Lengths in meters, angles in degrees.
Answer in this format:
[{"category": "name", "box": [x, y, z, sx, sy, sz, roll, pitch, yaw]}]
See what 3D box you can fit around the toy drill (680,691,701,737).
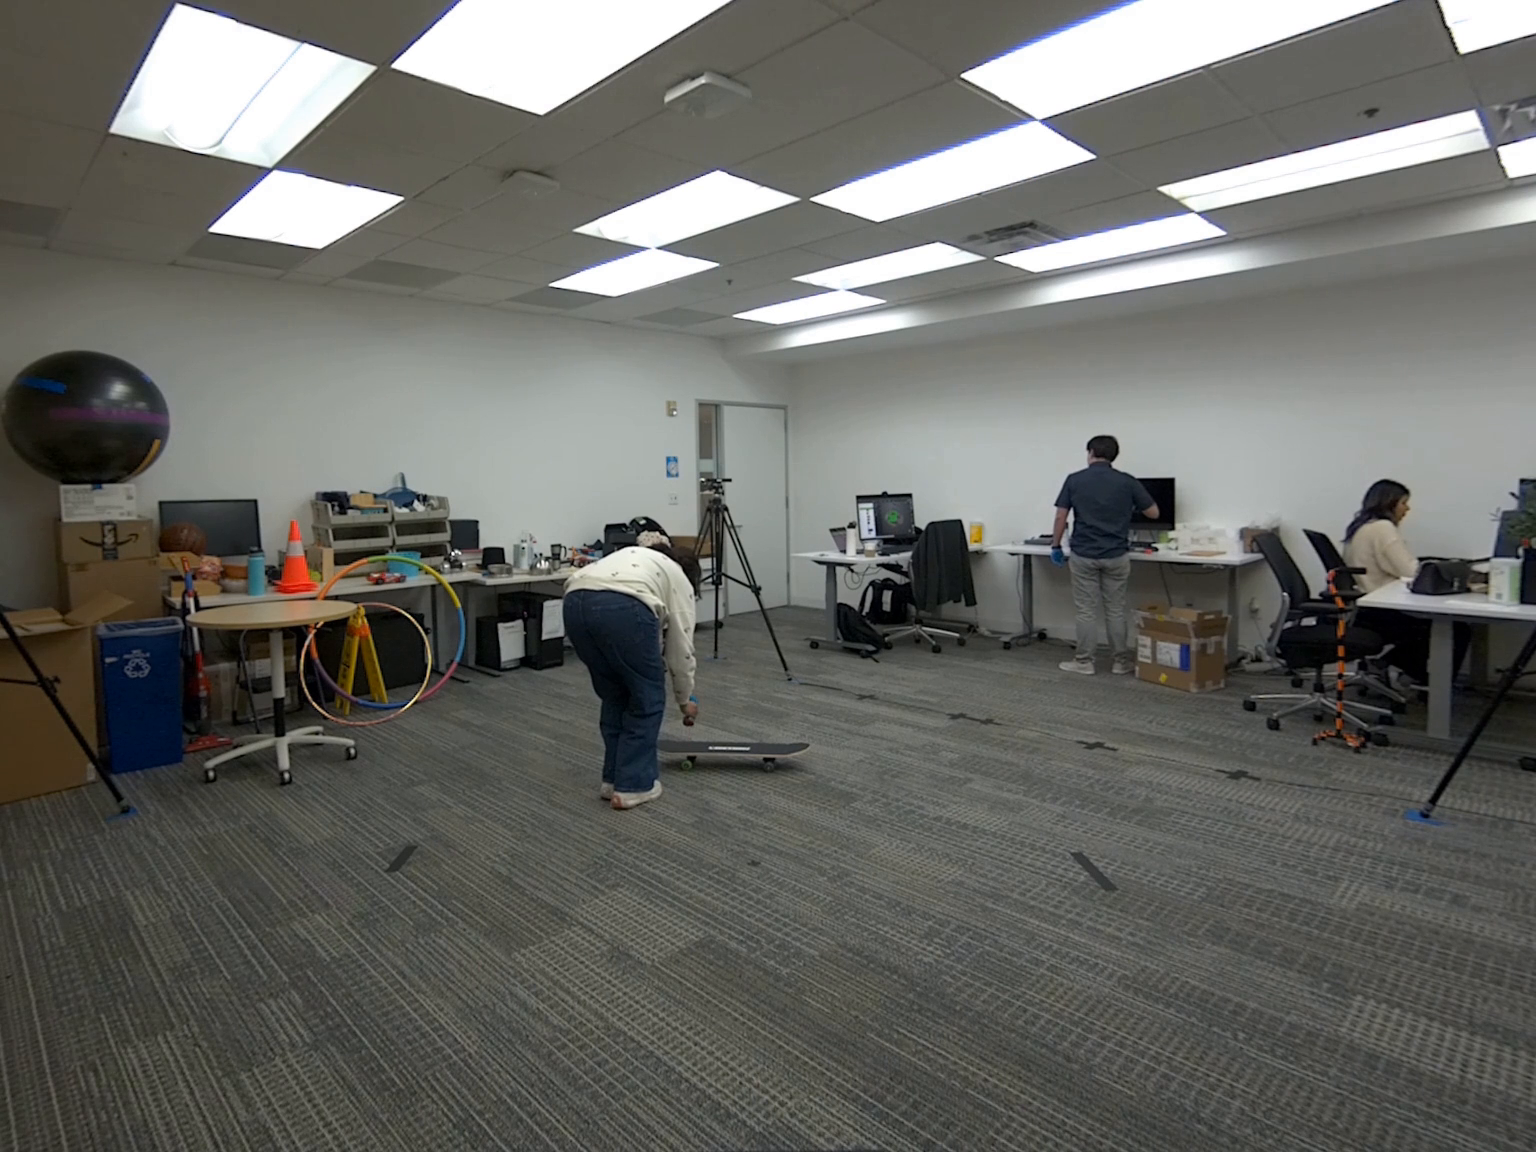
[{"category": "toy drill", "box": [-0.371, 0.661, 4.110, 0.061, 0.150, 0.165, -1, -38, 4]}]
